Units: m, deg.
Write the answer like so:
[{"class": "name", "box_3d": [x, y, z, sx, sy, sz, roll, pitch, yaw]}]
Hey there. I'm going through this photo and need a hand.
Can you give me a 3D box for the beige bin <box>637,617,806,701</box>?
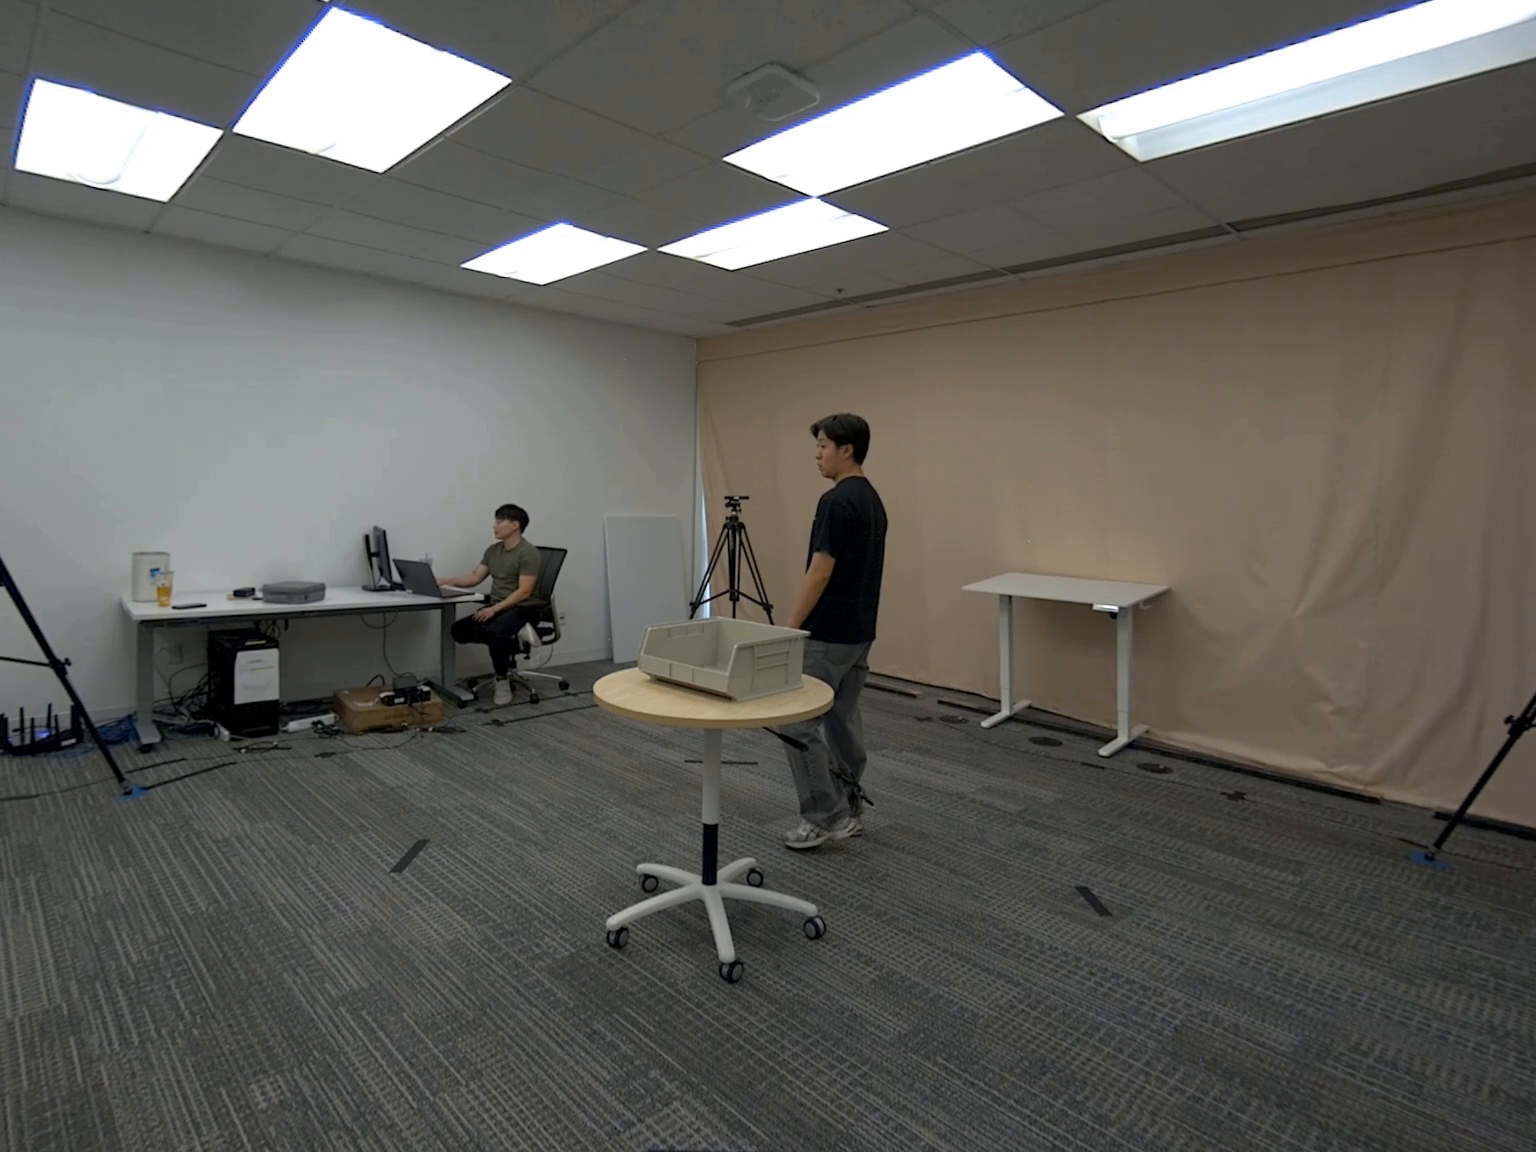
[{"class": "beige bin", "box_3d": [-0.151, 0.266, 2.739, 0.433, 0.188, 0.368, 5, 5, 42]}]
